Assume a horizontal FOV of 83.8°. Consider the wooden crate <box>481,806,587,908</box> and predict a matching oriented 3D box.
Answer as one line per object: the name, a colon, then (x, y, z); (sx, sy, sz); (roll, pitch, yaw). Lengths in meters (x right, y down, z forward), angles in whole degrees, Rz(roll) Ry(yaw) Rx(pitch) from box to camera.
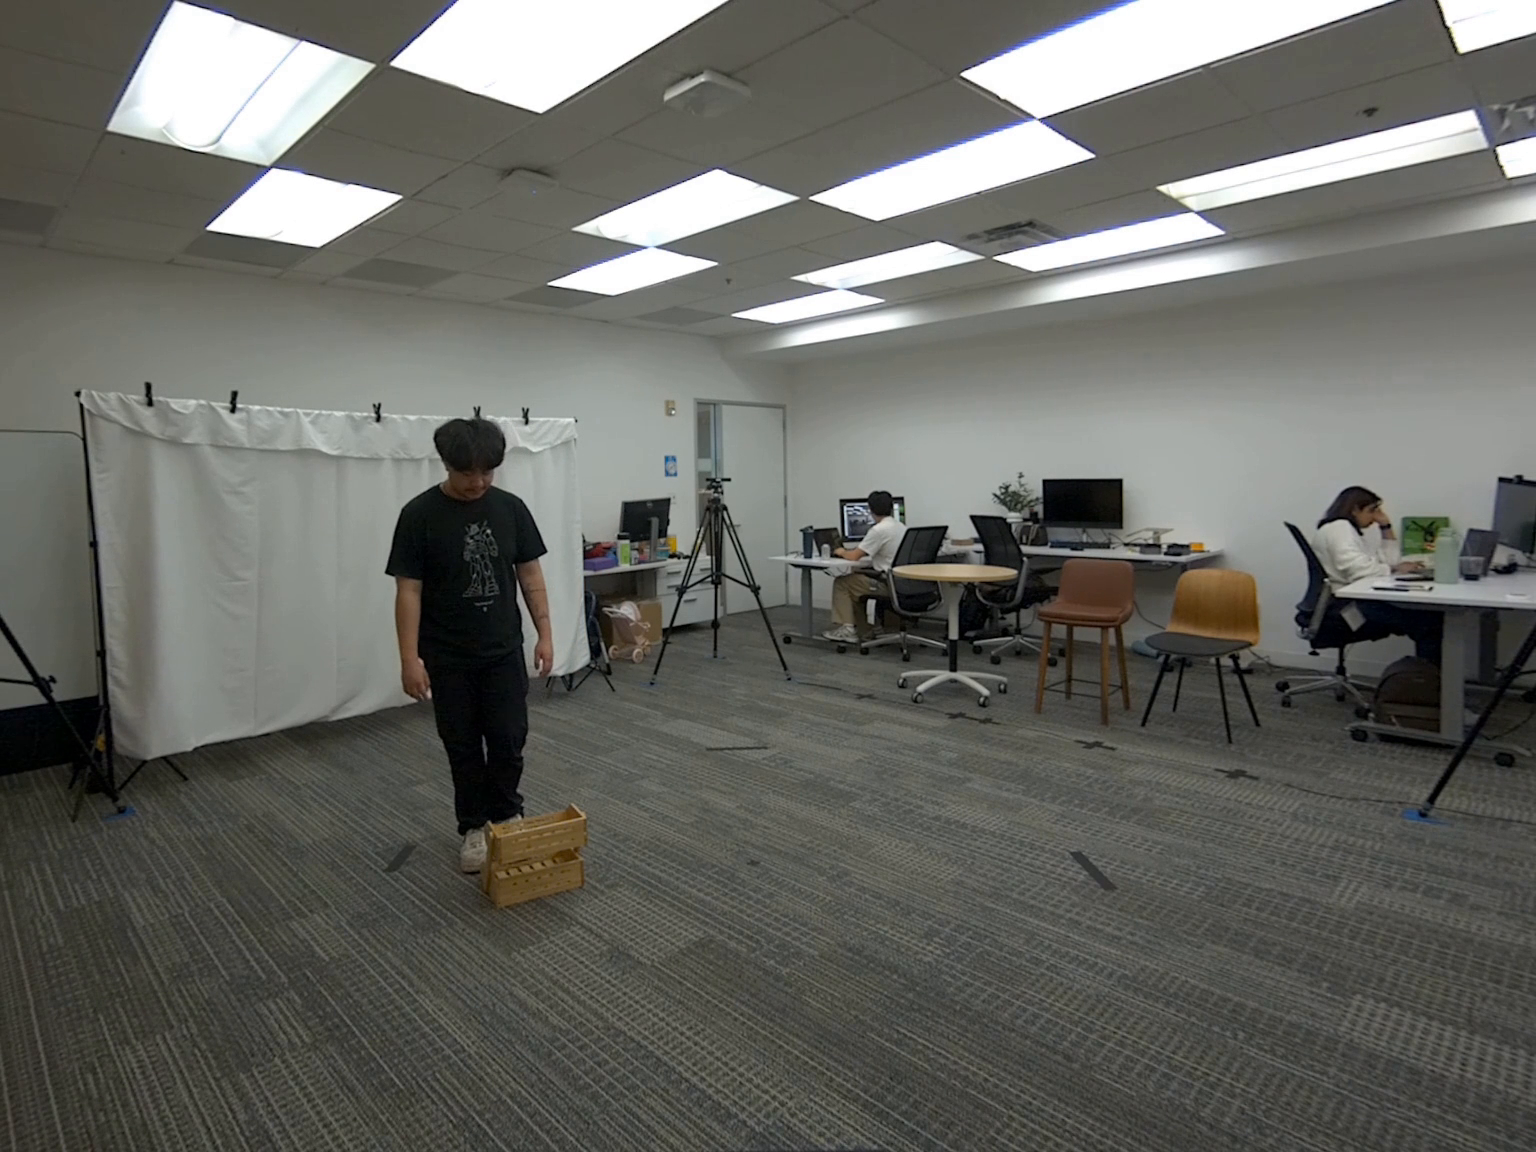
wooden crate: (-0.818, 0.944, 2.959); (0.317, 0.272, 0.310); (-5, 7, -30)
